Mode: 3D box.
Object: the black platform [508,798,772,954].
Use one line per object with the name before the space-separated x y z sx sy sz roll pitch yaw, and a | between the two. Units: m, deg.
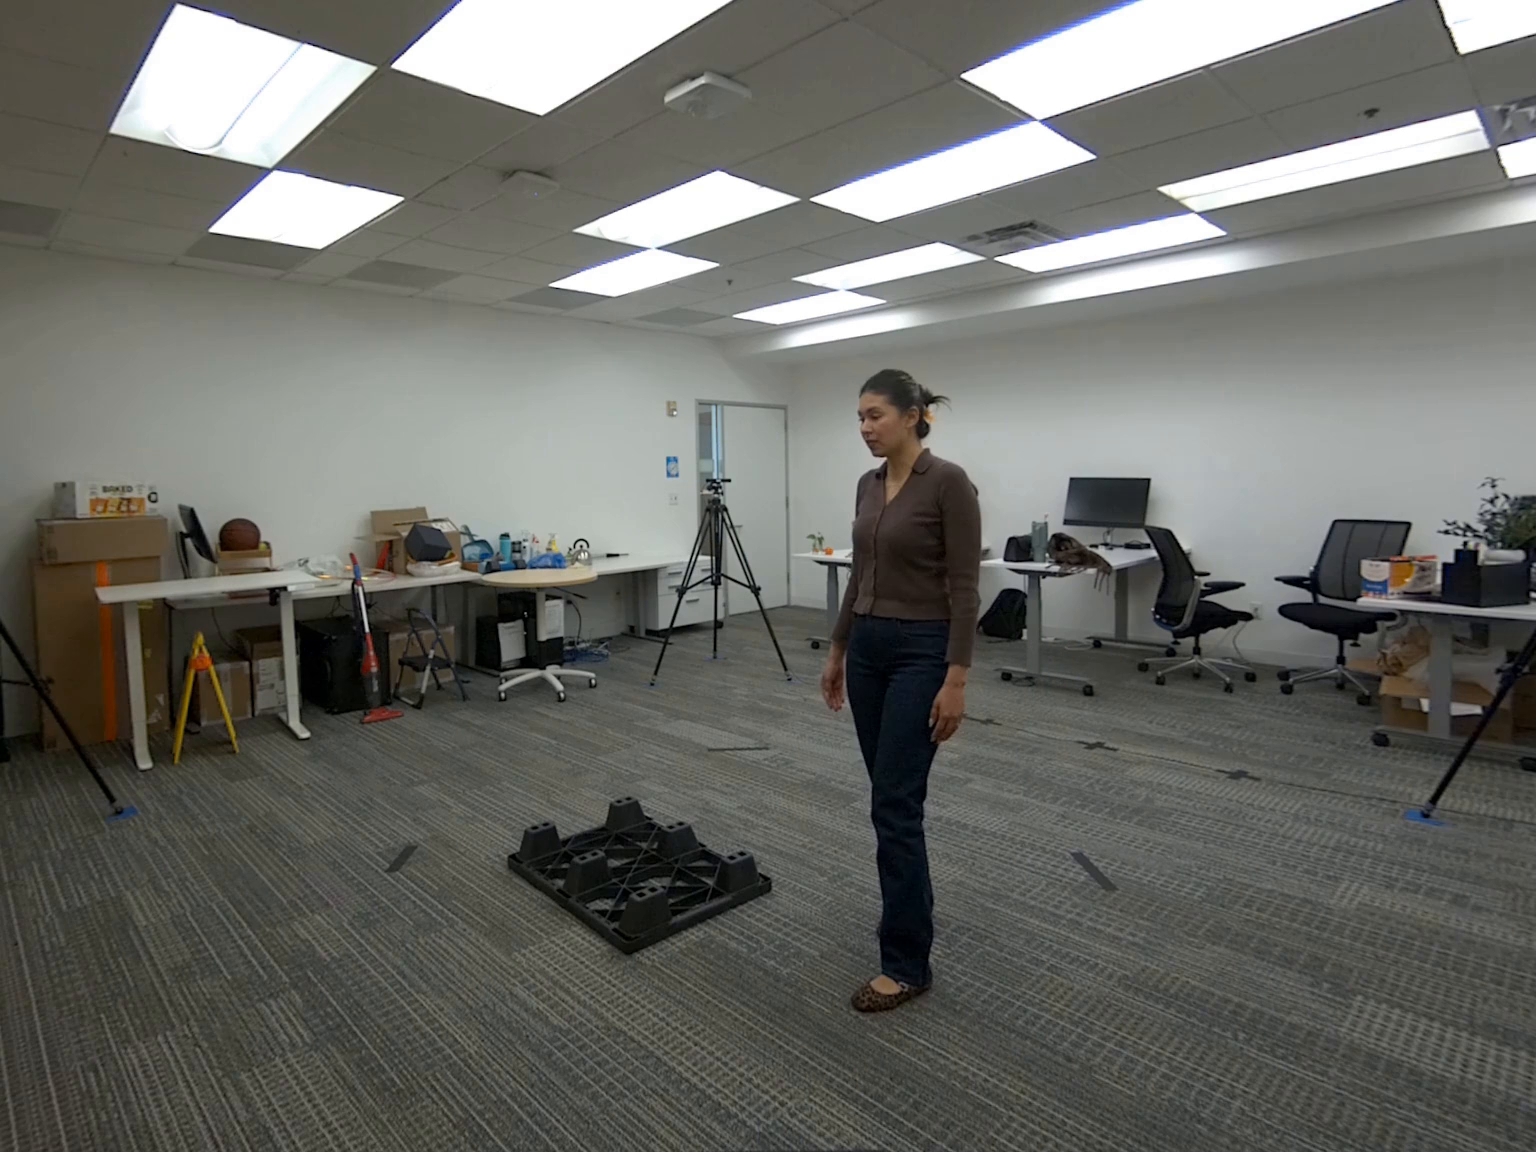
black platform | -0.461 0.998 3.008 0.589 0.142 0.831 -7 9 -42
